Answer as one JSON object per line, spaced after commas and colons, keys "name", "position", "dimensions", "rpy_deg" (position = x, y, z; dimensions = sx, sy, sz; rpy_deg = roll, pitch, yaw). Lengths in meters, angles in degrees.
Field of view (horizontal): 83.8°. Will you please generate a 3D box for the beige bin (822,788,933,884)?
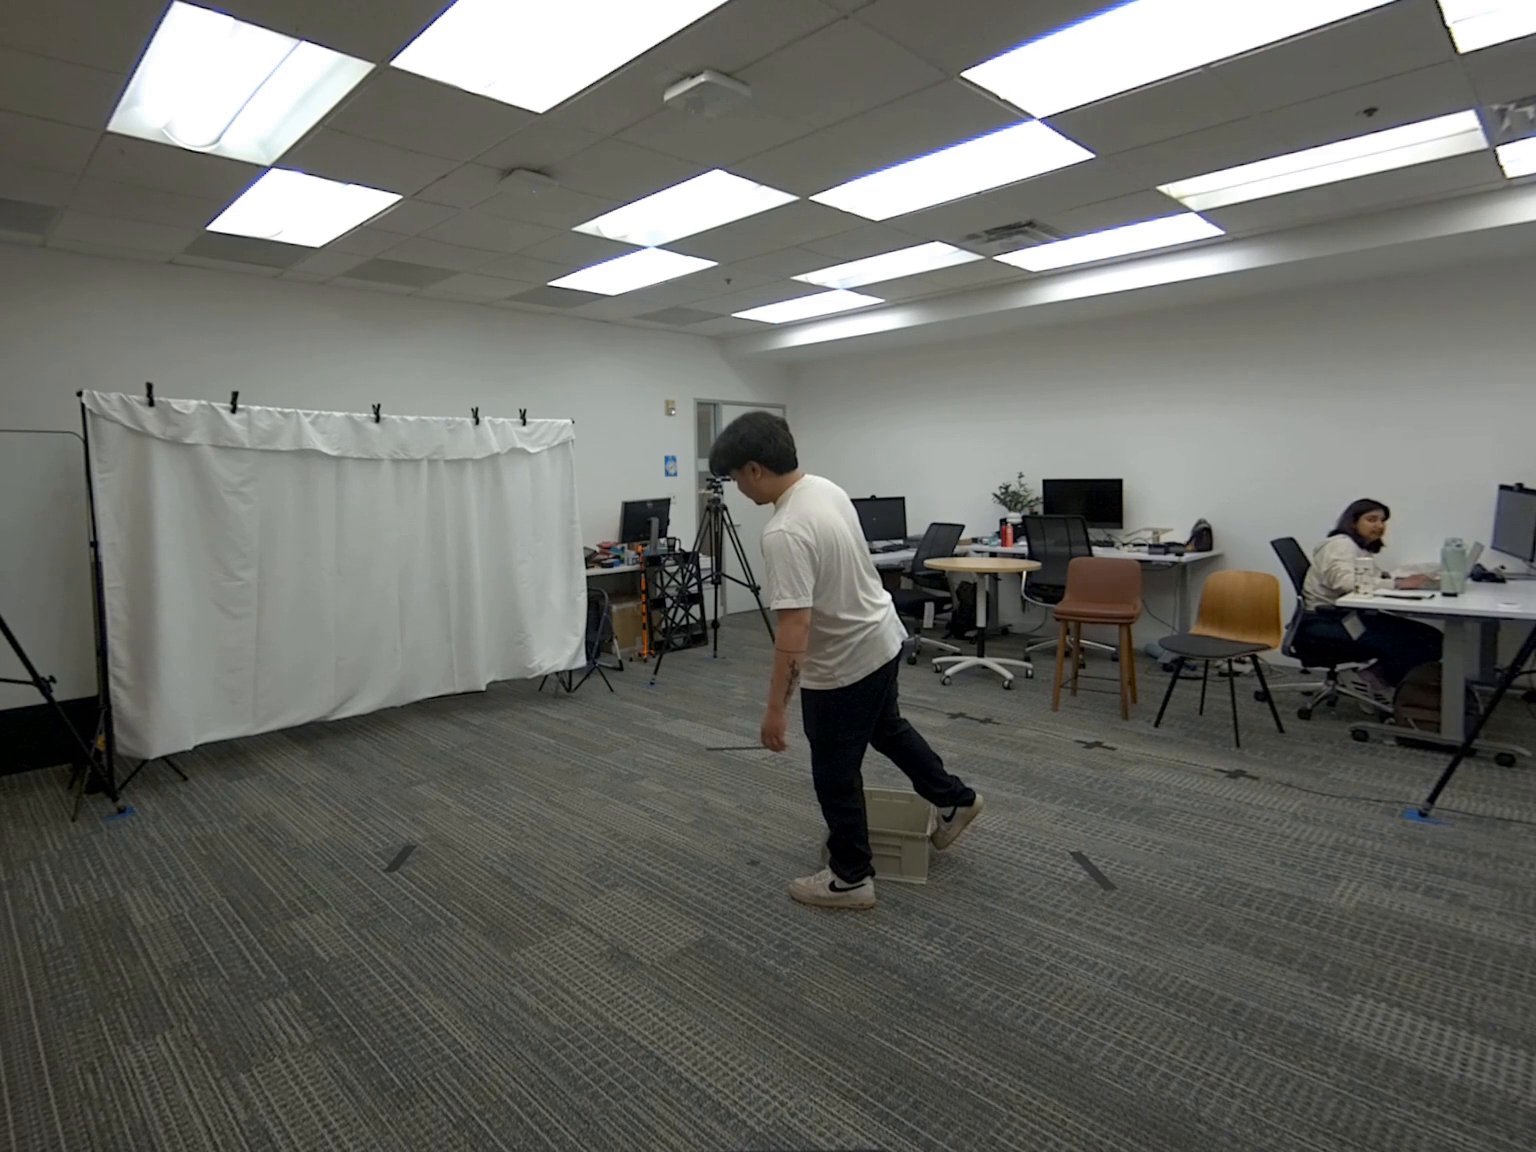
{"name": "beige bin", "position": [0.431, 0.942, 3.155], "dimensions": [0.383, 0.188, 0.417], "rpy_deg": [2, 6, 15]}
